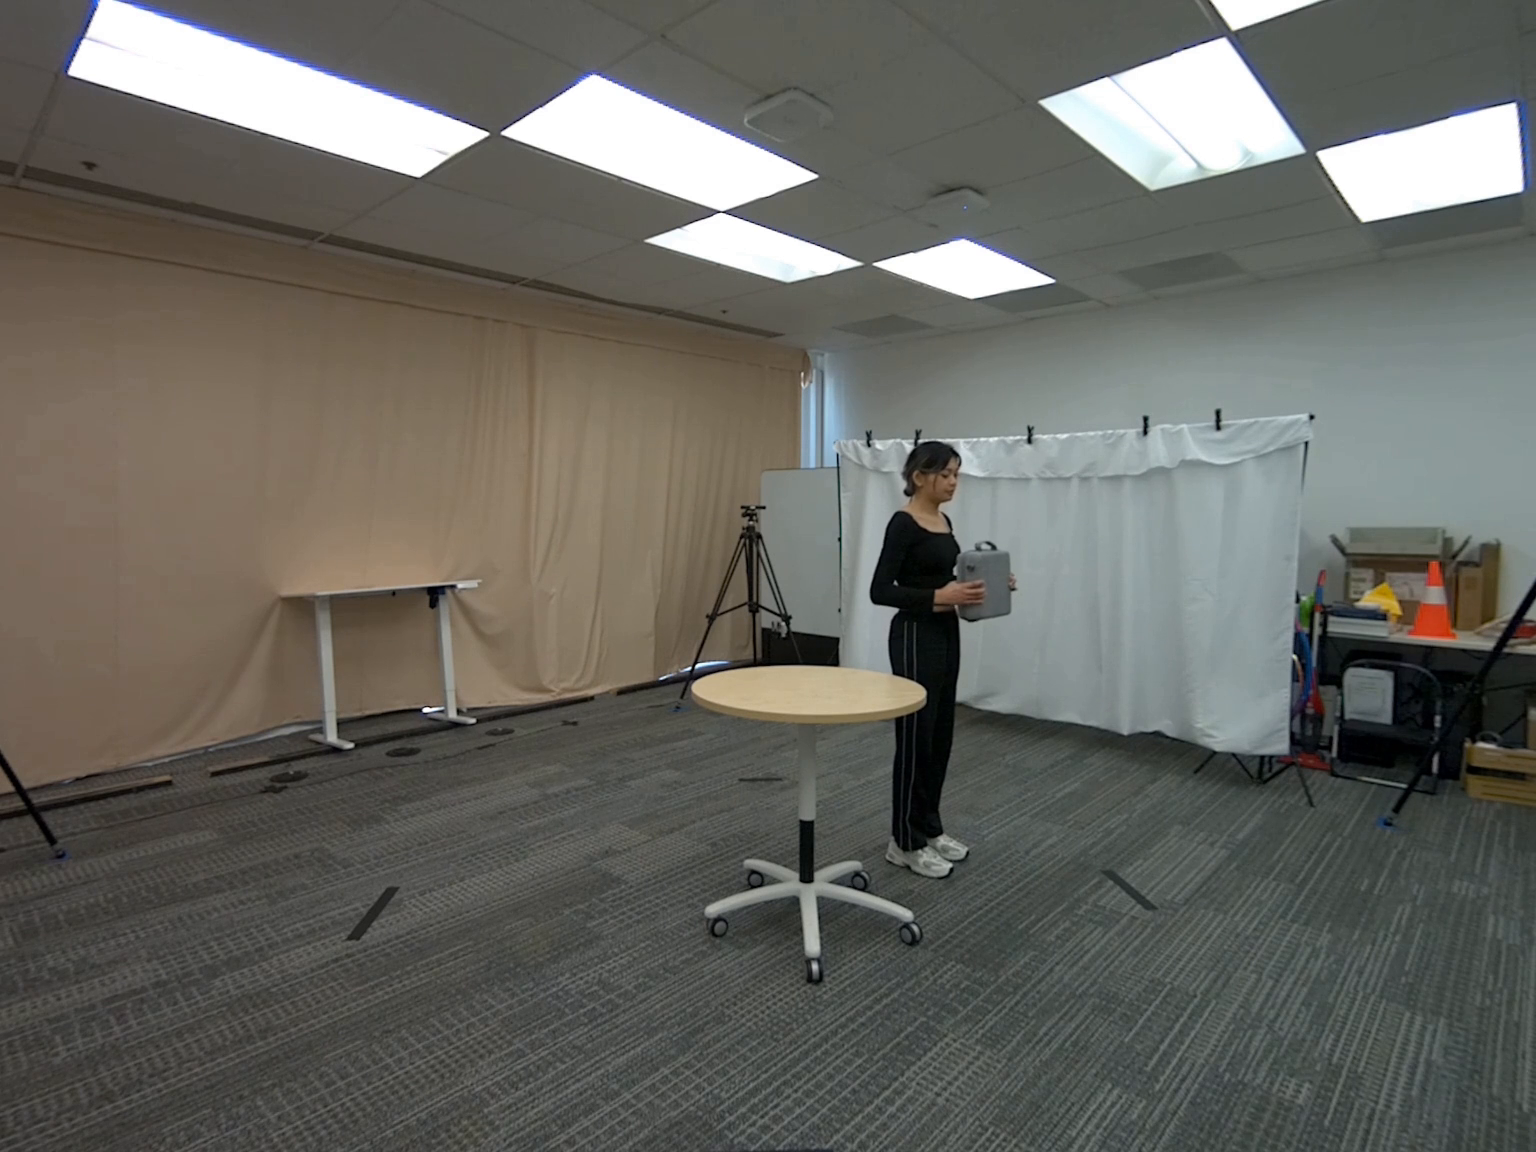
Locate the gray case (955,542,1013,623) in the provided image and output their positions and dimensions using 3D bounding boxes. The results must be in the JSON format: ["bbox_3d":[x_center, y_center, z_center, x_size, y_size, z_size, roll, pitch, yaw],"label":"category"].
[{"bbox_3d":[0.808,0.030,3.143,0.108,0.260,0.249,1,4,43],"label":"gray case"}]
